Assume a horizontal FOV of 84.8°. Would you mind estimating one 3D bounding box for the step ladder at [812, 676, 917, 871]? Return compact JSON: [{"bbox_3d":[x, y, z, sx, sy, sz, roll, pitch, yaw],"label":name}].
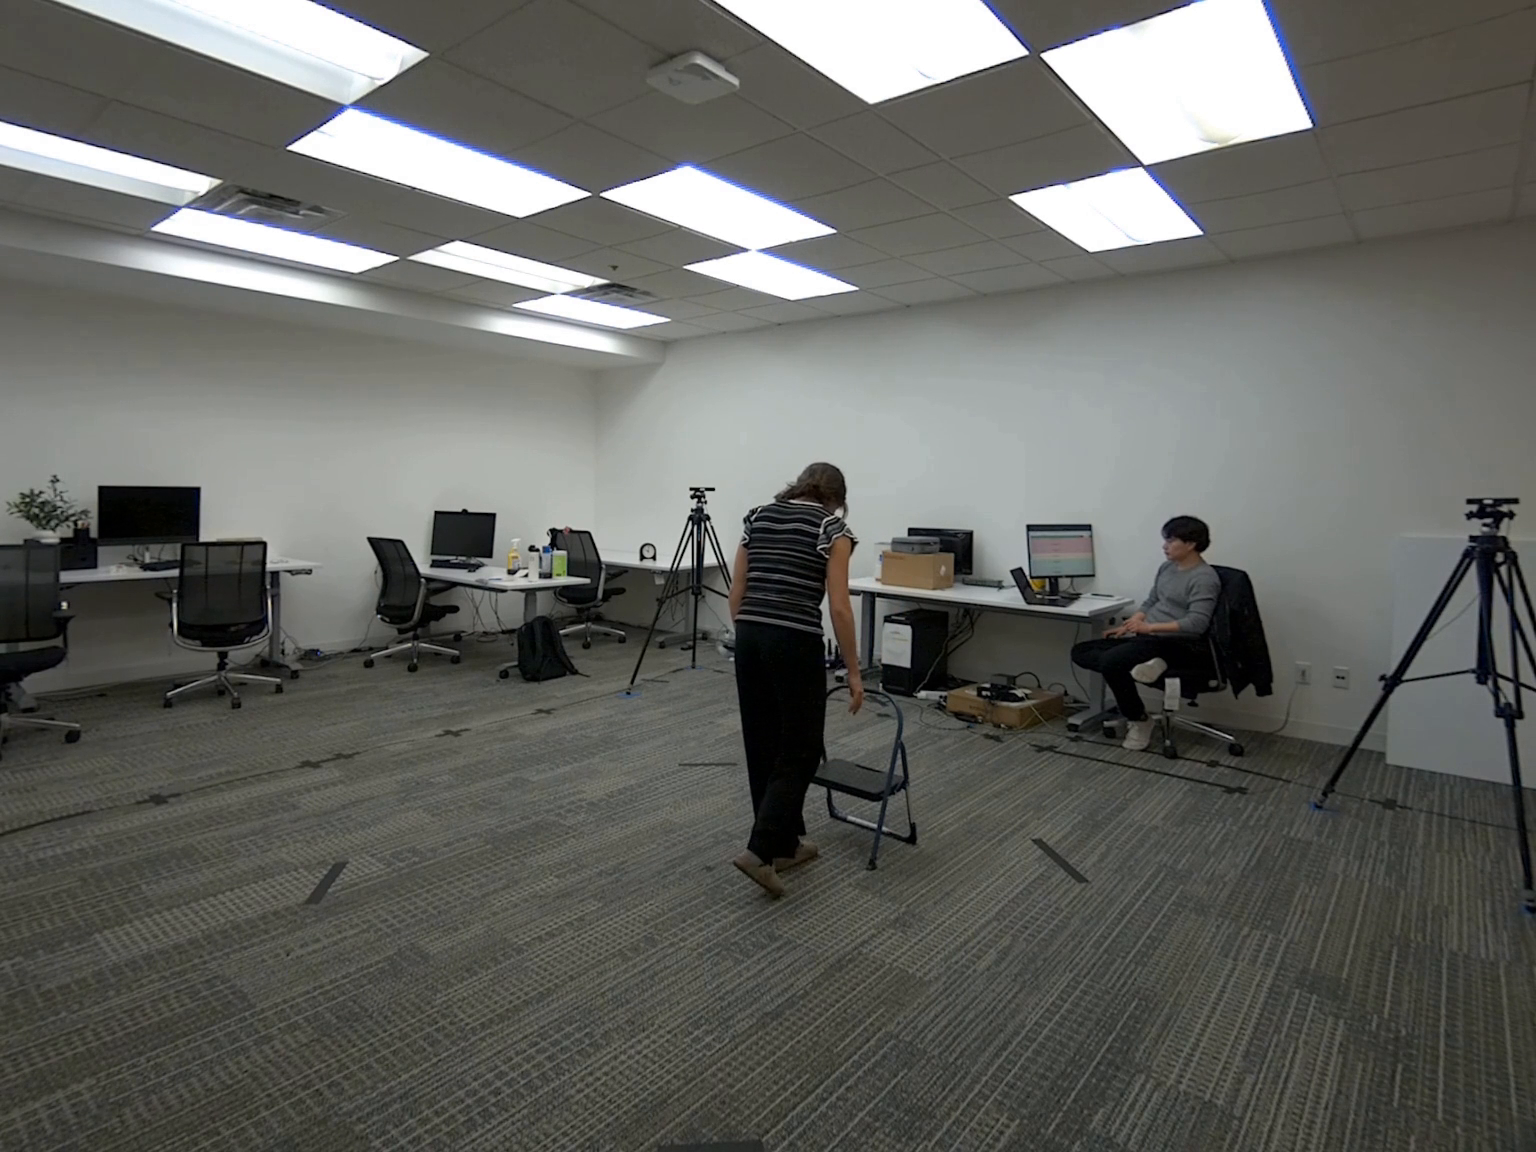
[{"bbox_3d":[0.326,0.751,3.378,0.445,0.604,0.339,5,5,40],"label":"step ladder"}]
